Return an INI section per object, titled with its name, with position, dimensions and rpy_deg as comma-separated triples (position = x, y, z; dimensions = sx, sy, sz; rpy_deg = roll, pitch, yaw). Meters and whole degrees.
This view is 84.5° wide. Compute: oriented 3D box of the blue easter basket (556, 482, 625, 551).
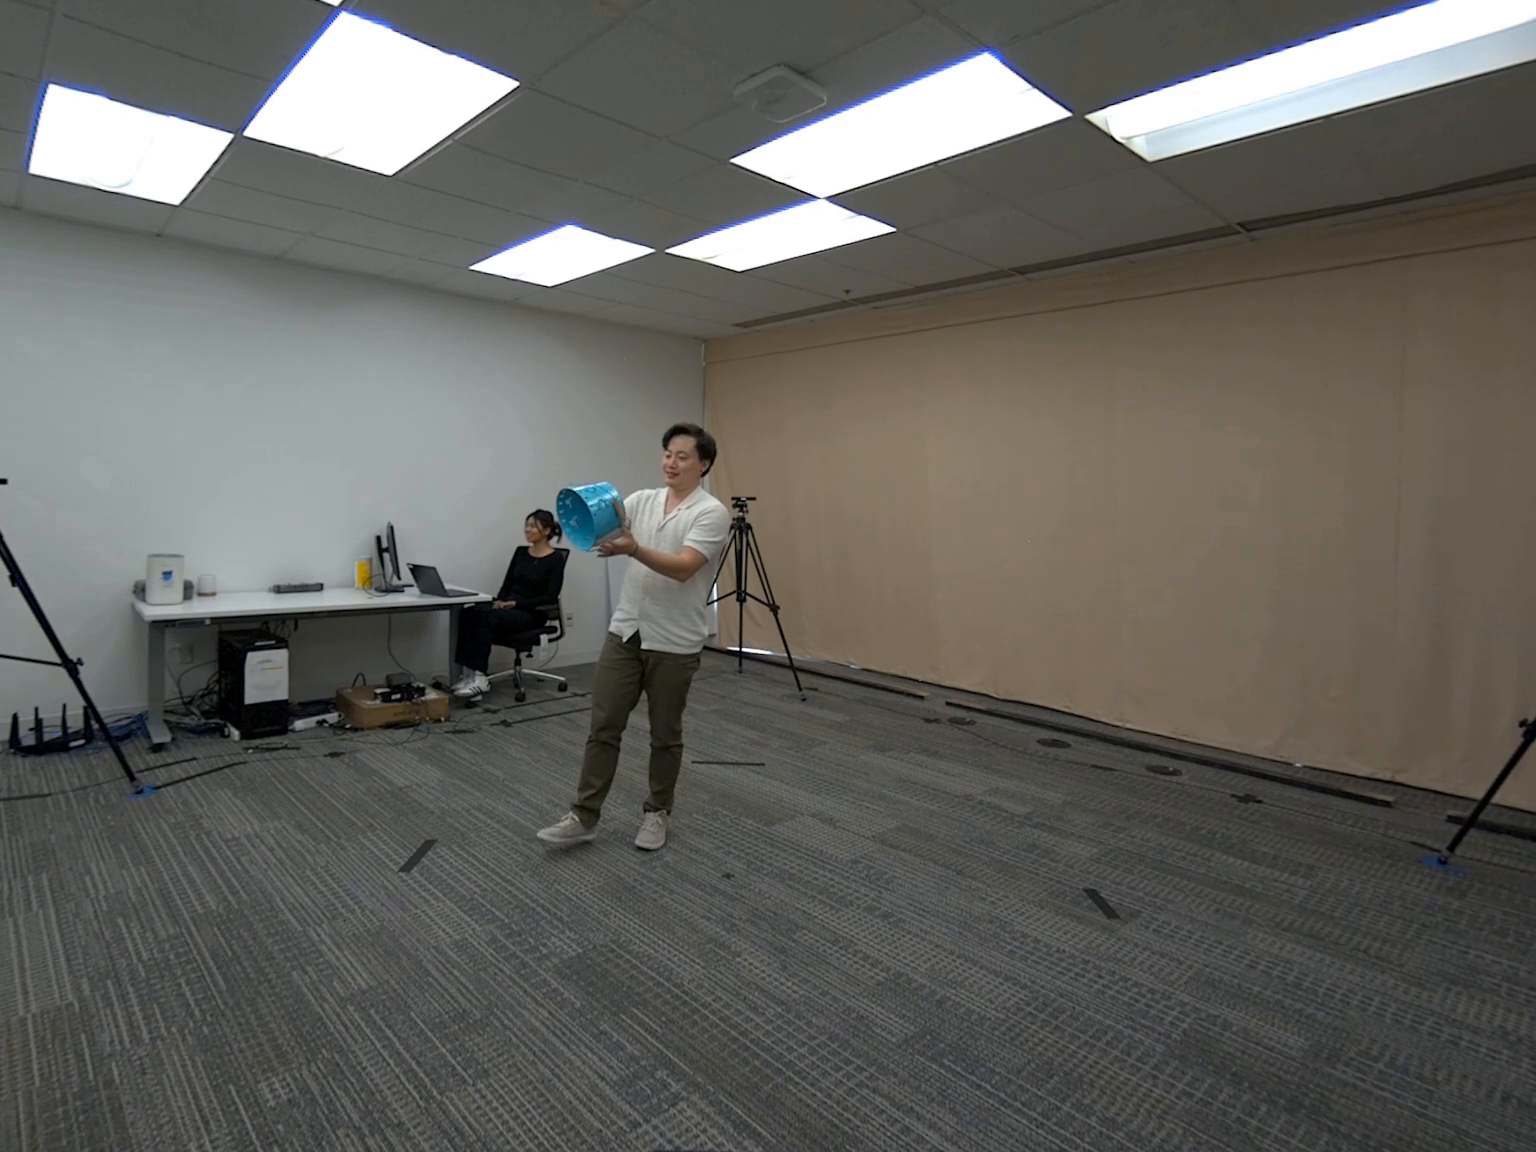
[blue easter basket]
position = -0.623, -0.219, 2.961
dimensions = 0.154, 0.240, 0.250
rpy_deg = -25, 21, -39
